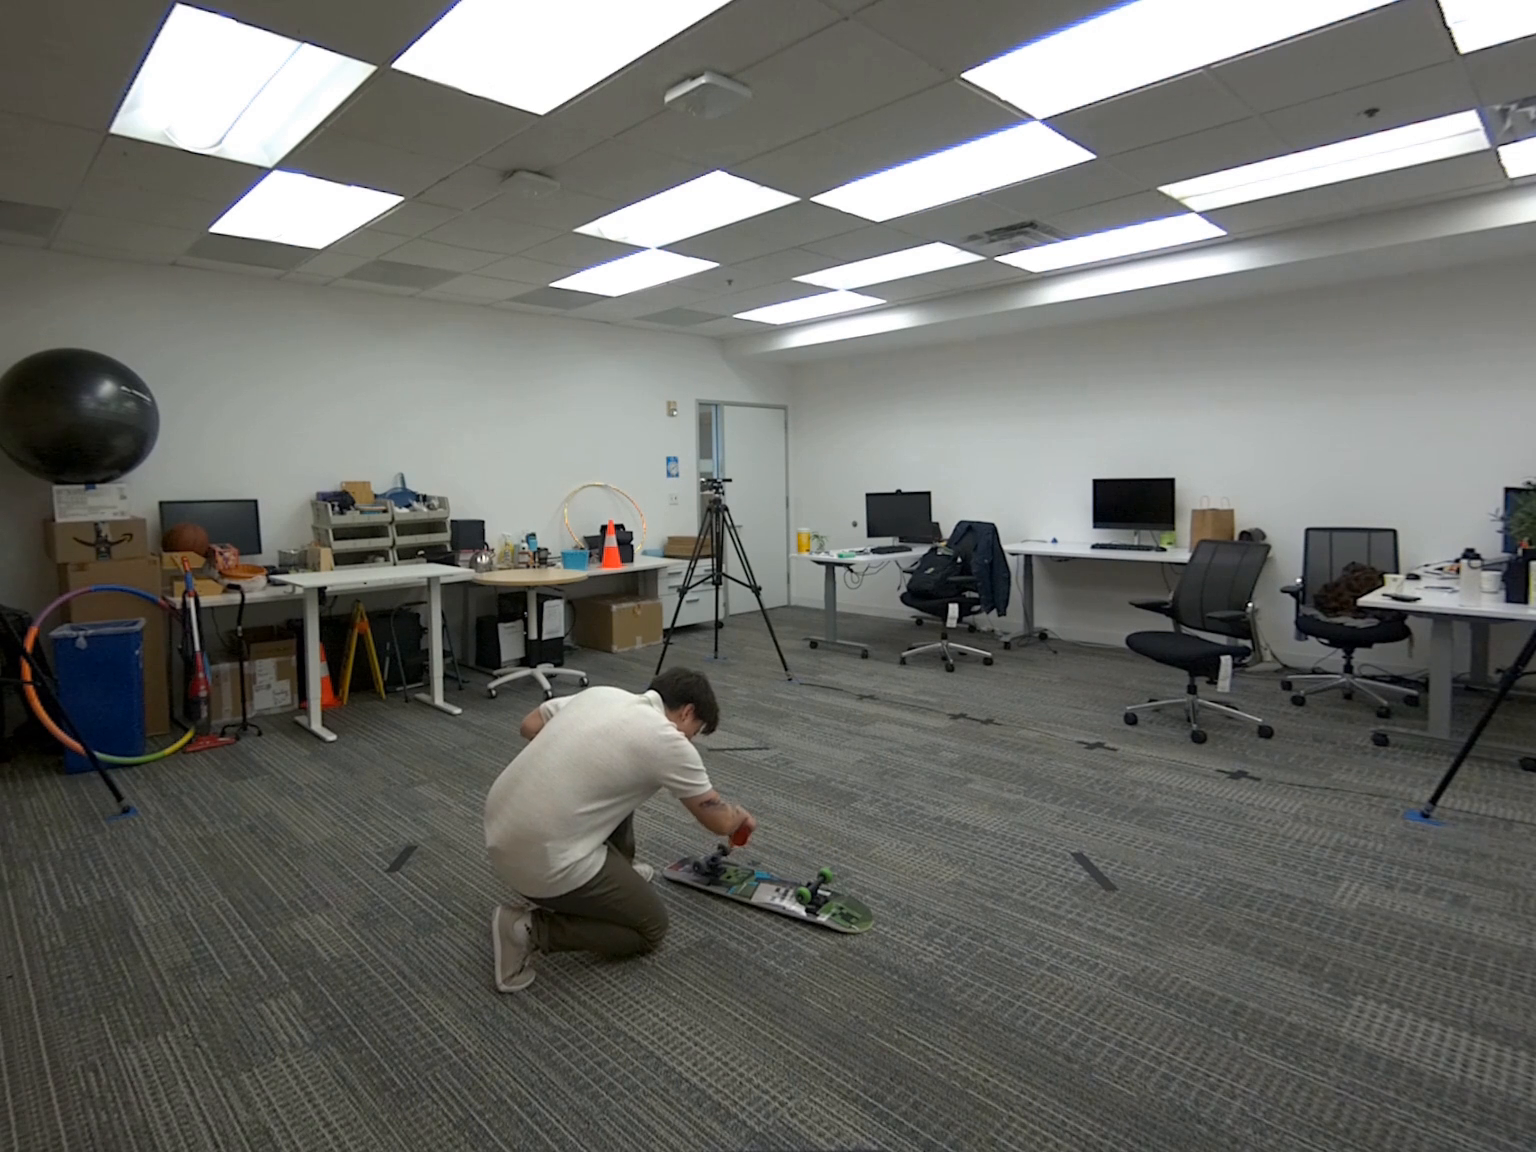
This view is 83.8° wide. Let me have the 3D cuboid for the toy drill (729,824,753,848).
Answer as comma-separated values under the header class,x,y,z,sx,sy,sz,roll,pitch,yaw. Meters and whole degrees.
class,x,y,z,sx,sy,sz,roll,pitch,yaw
toy drill,-0.097,0.876,2.880,0.061,0.169,0.147,15,6,-2
